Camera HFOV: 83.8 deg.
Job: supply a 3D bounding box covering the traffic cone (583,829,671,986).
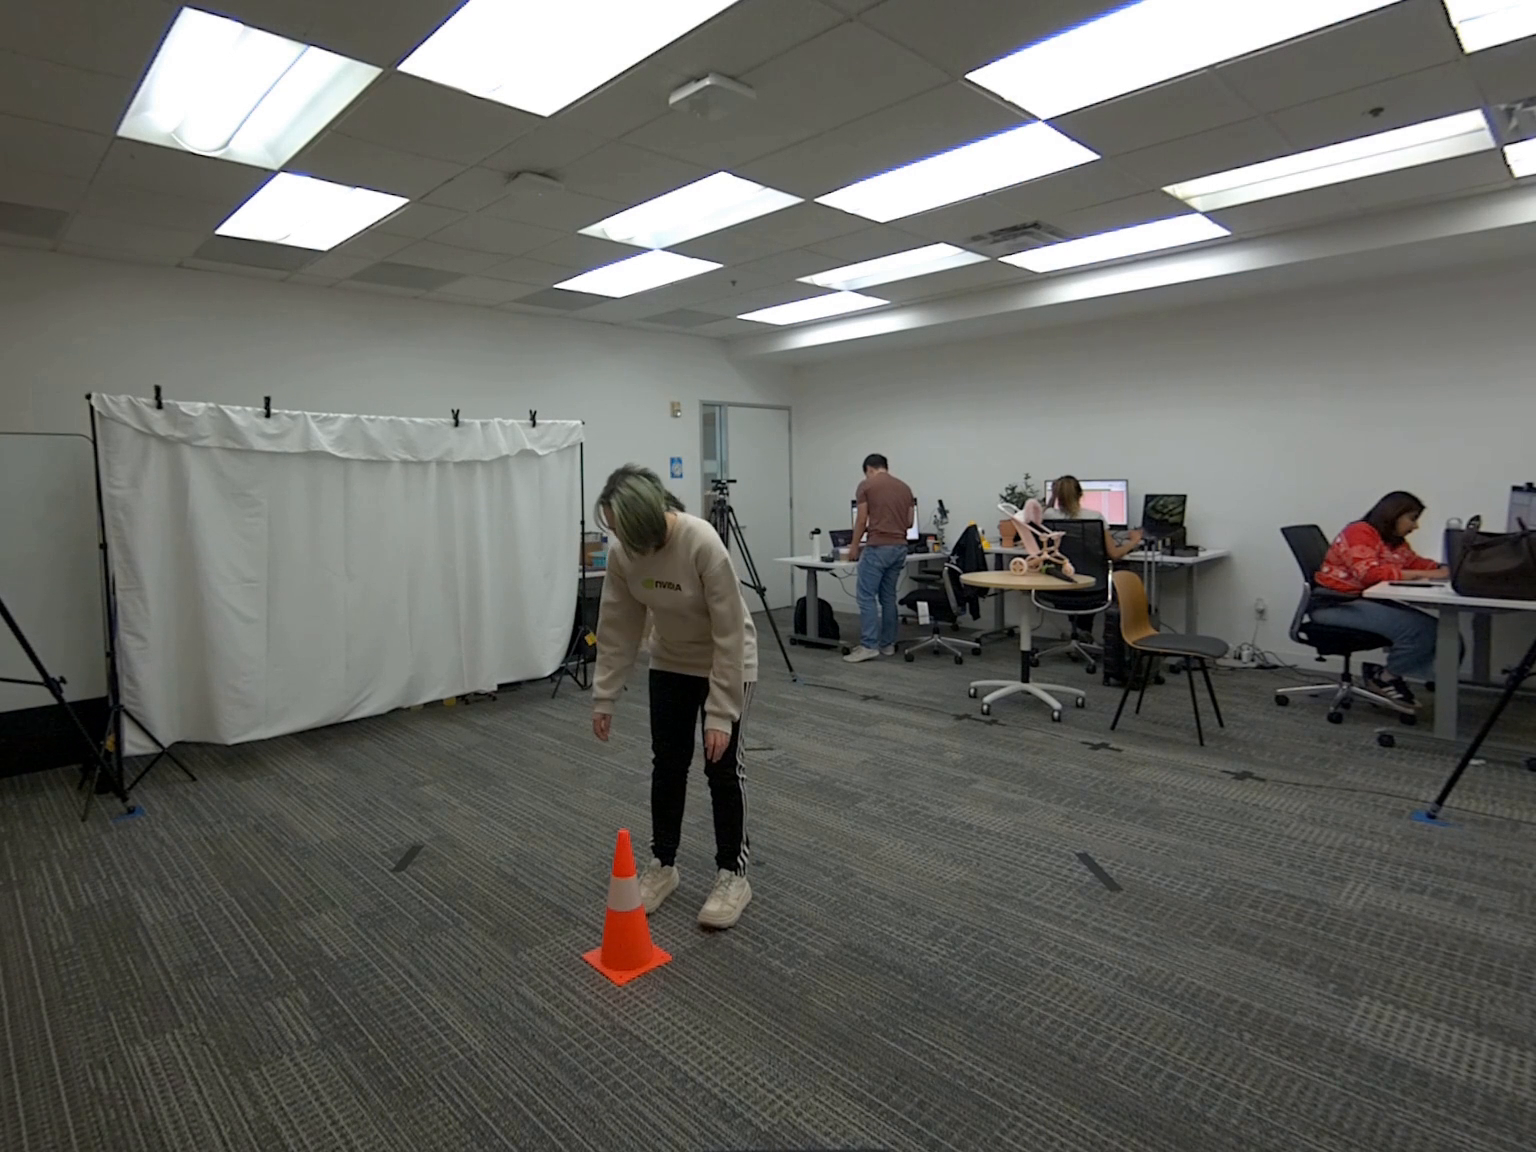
[{"bbox_3d":[-0.420,0.941,2.509,0.198,0.383,0.211,-4,3,-40],"label":"traffic cone"}]
